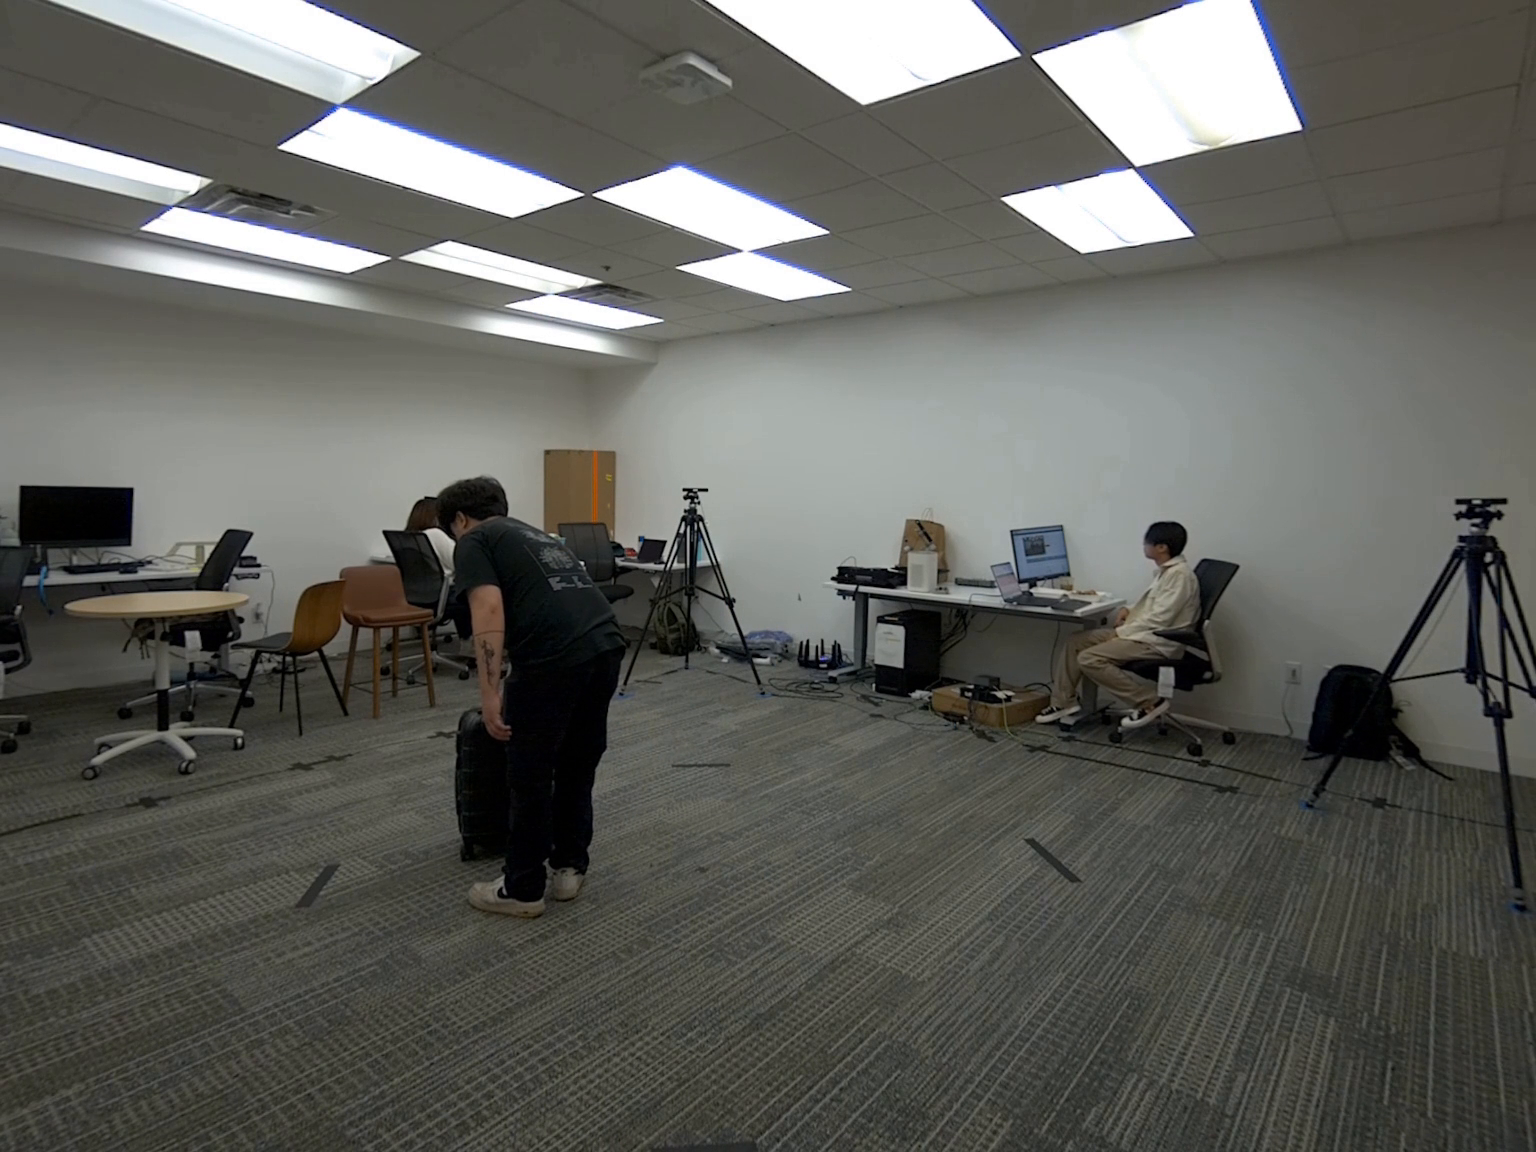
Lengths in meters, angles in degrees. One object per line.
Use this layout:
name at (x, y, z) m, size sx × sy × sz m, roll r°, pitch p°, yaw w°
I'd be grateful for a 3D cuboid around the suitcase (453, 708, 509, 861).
suitcase at (-1.025, 0.766, 3.264) m, size 0.369 × 0.548 × 0.253 m, roll 0°, pitch 3°, yaw -17°
